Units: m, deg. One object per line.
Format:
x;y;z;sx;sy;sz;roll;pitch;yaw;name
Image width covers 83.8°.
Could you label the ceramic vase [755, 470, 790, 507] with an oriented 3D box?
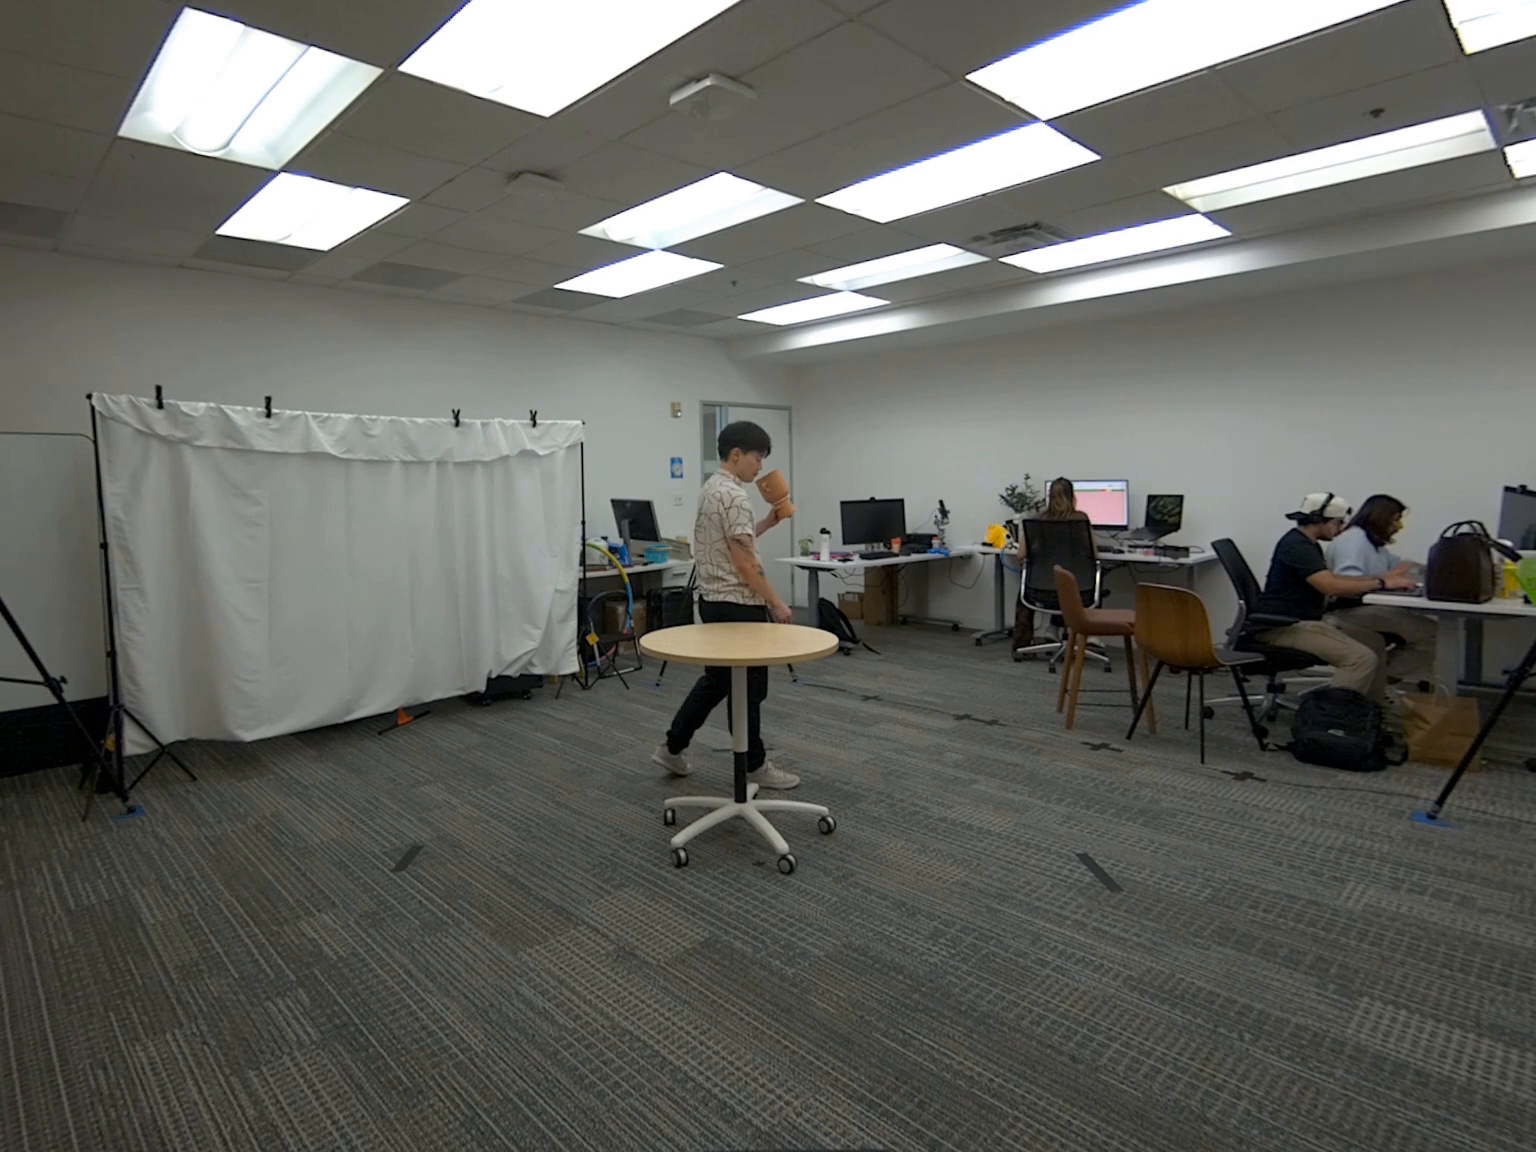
0.041;-0.382;4.090;0.157;0.219;0.136;-29;4;-22;ceramic vase
